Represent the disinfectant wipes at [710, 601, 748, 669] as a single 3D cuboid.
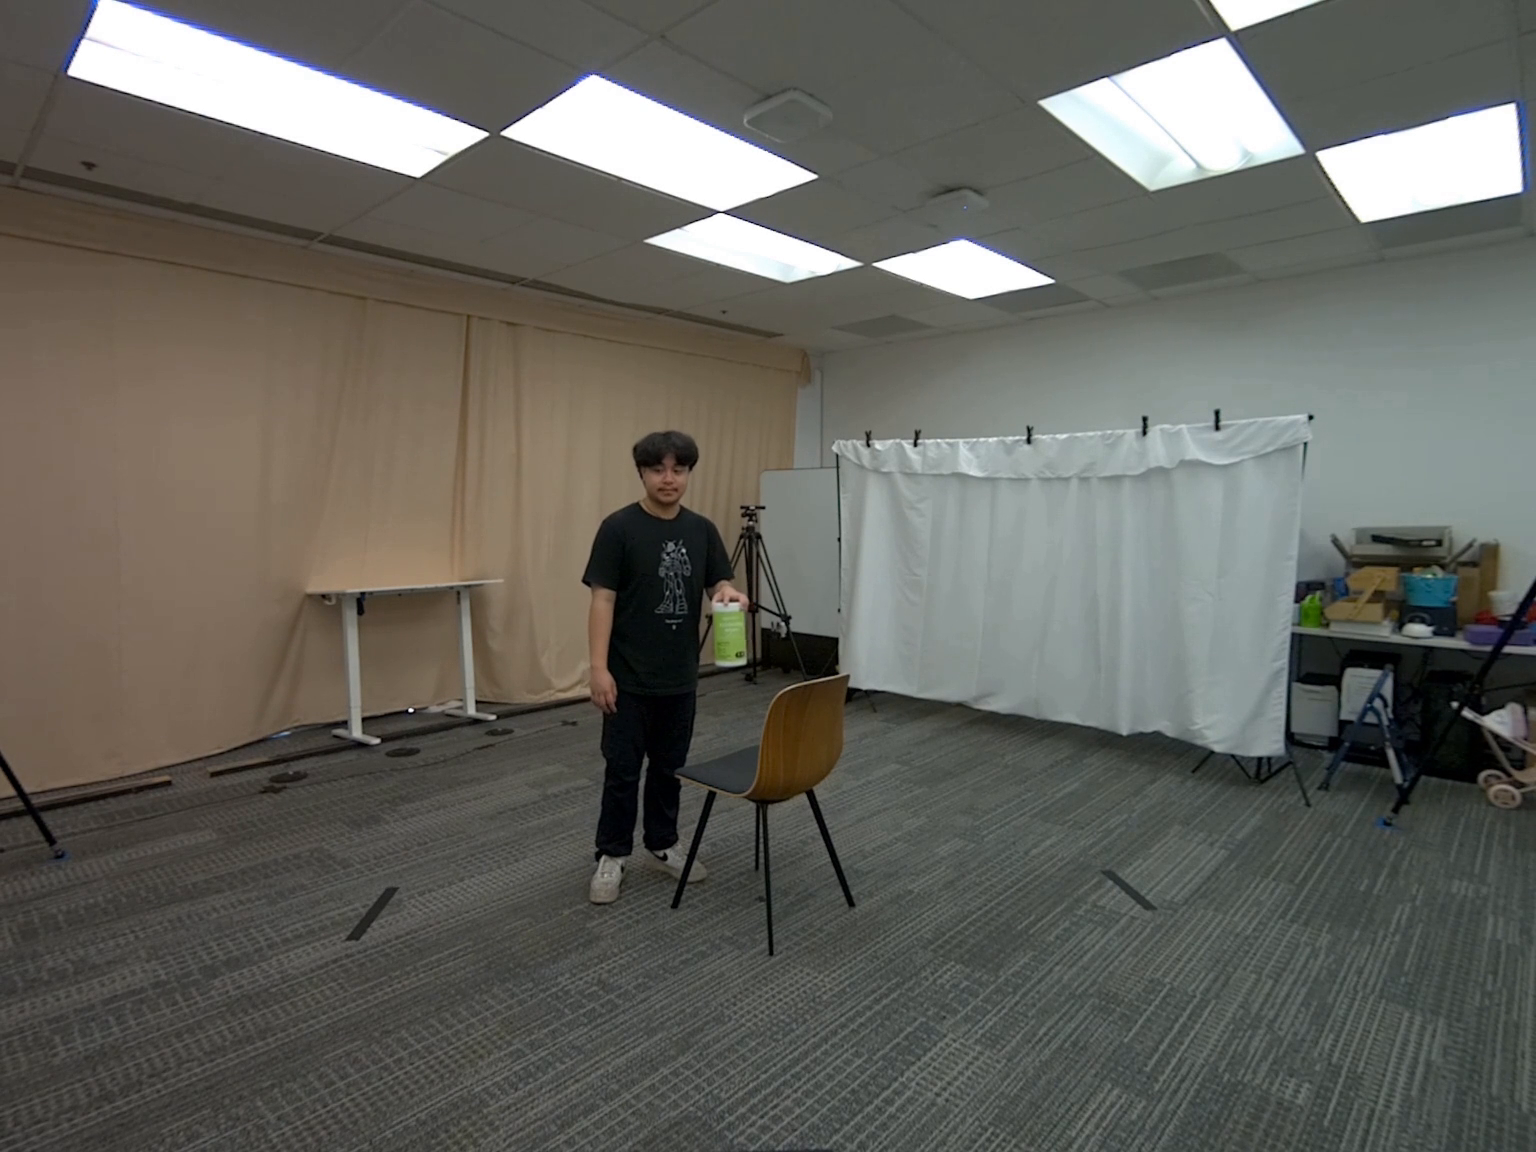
[{"bbox_3d":[-0.131,0.198,2.871,0.118,0.217,0.118,-3,2,-2],"label":"disinfectant wipes"}]
